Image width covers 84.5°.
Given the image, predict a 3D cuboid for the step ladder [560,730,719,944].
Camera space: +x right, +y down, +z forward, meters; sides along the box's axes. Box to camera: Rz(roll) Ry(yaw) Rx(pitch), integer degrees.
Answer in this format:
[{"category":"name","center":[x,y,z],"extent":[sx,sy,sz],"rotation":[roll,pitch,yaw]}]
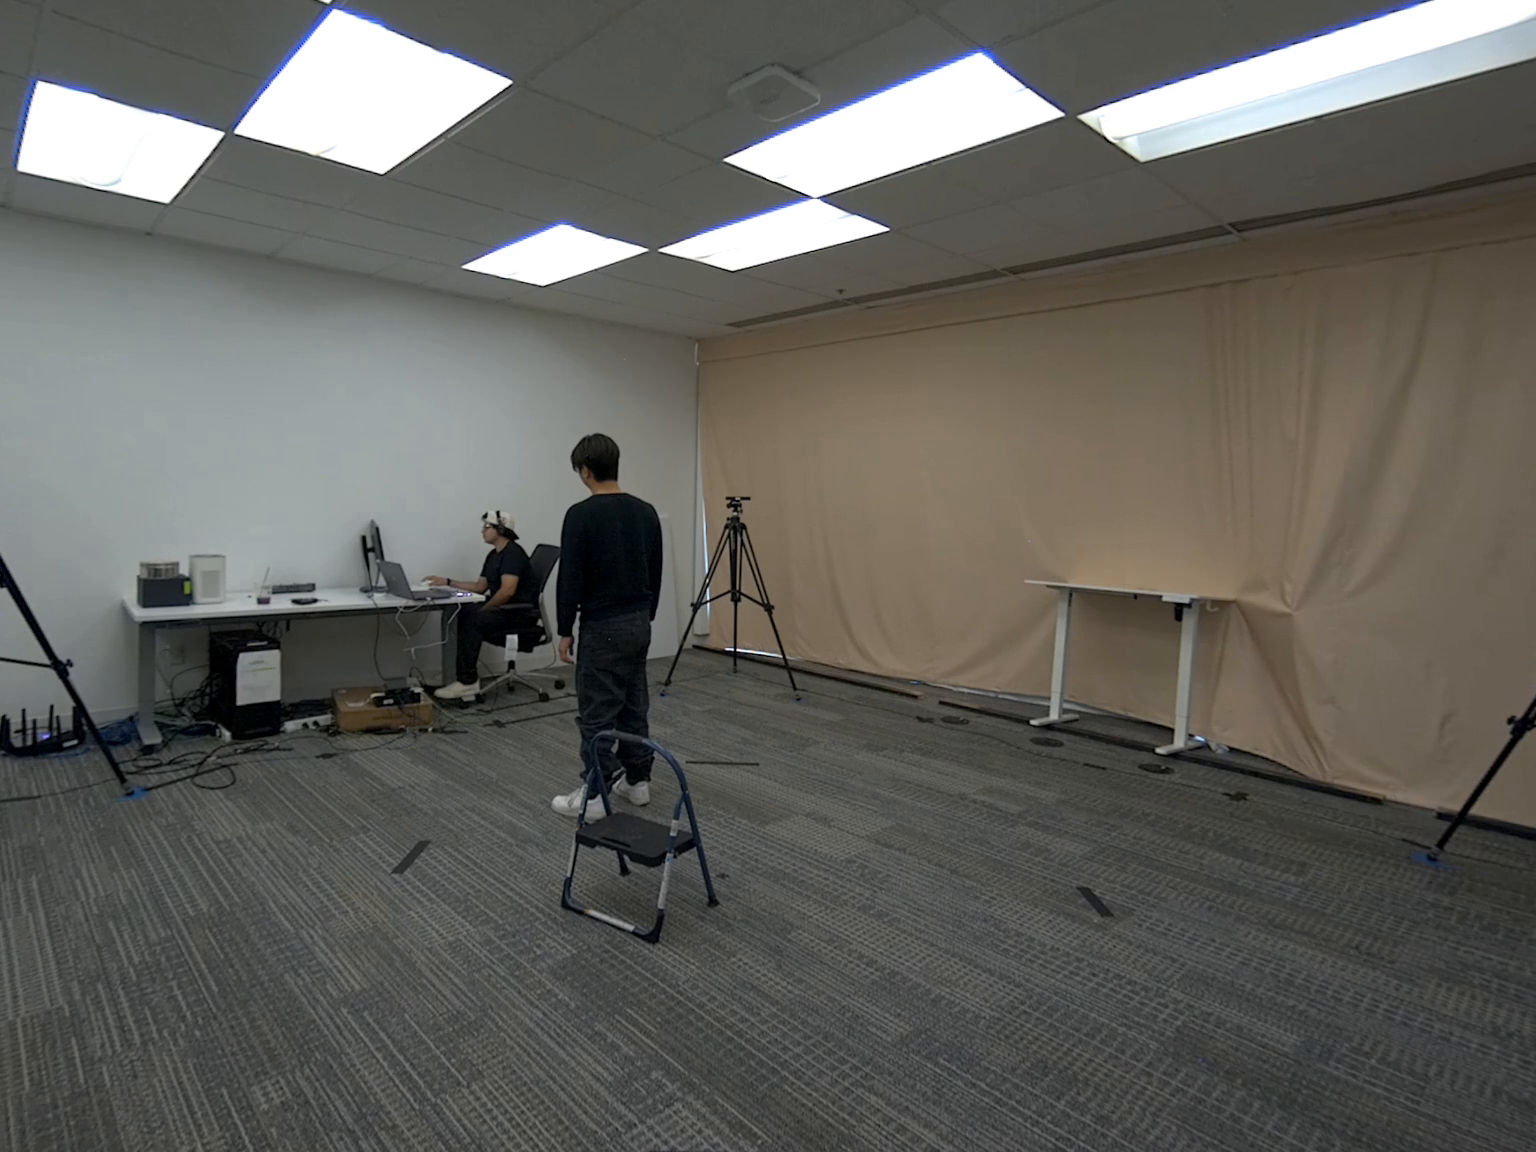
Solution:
[{"category":"step ladder","center":[-0.434,0.820,2.852],"extent":[0.440,0.605,0.342],"rotation":[3,4,32]}]
